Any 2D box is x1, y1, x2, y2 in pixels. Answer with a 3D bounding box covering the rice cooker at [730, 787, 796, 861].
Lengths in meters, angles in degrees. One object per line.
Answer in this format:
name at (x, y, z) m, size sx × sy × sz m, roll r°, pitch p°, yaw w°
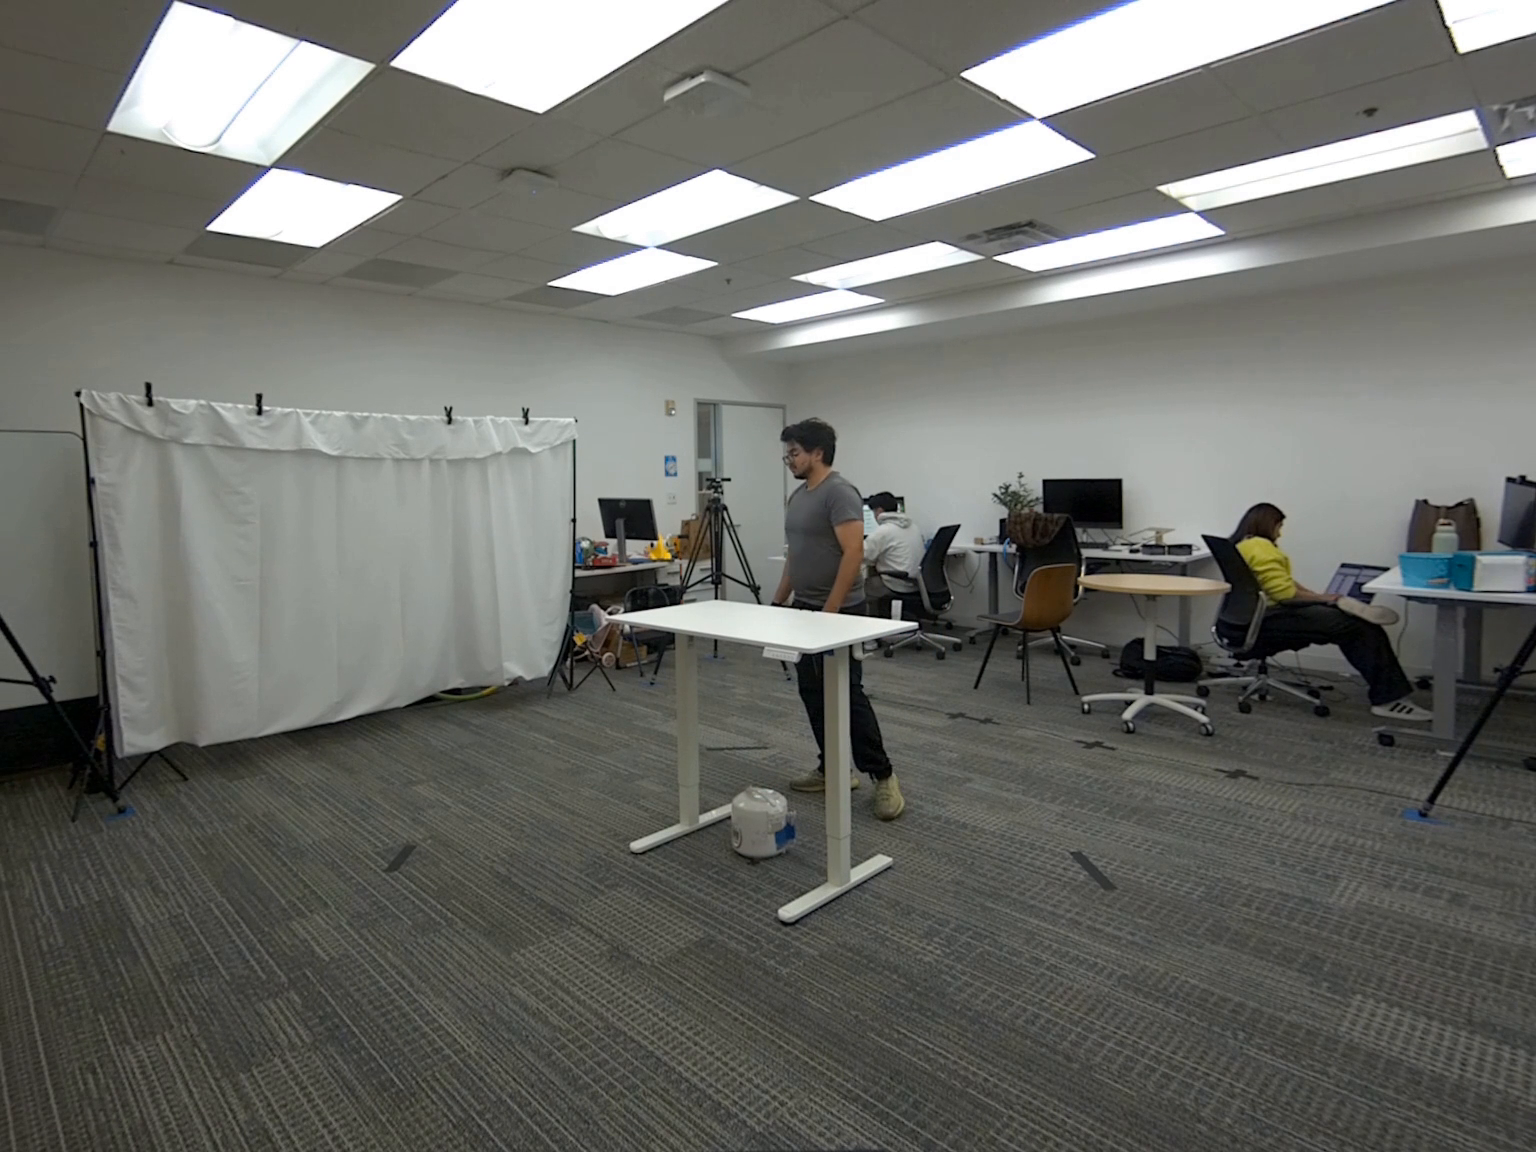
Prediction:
rice cooker at (-0.028, 0.917, 3.204) m, size 0.212 × 0.232 × 0.227 m, roll -2°, pitch 4°, yaw -34°
